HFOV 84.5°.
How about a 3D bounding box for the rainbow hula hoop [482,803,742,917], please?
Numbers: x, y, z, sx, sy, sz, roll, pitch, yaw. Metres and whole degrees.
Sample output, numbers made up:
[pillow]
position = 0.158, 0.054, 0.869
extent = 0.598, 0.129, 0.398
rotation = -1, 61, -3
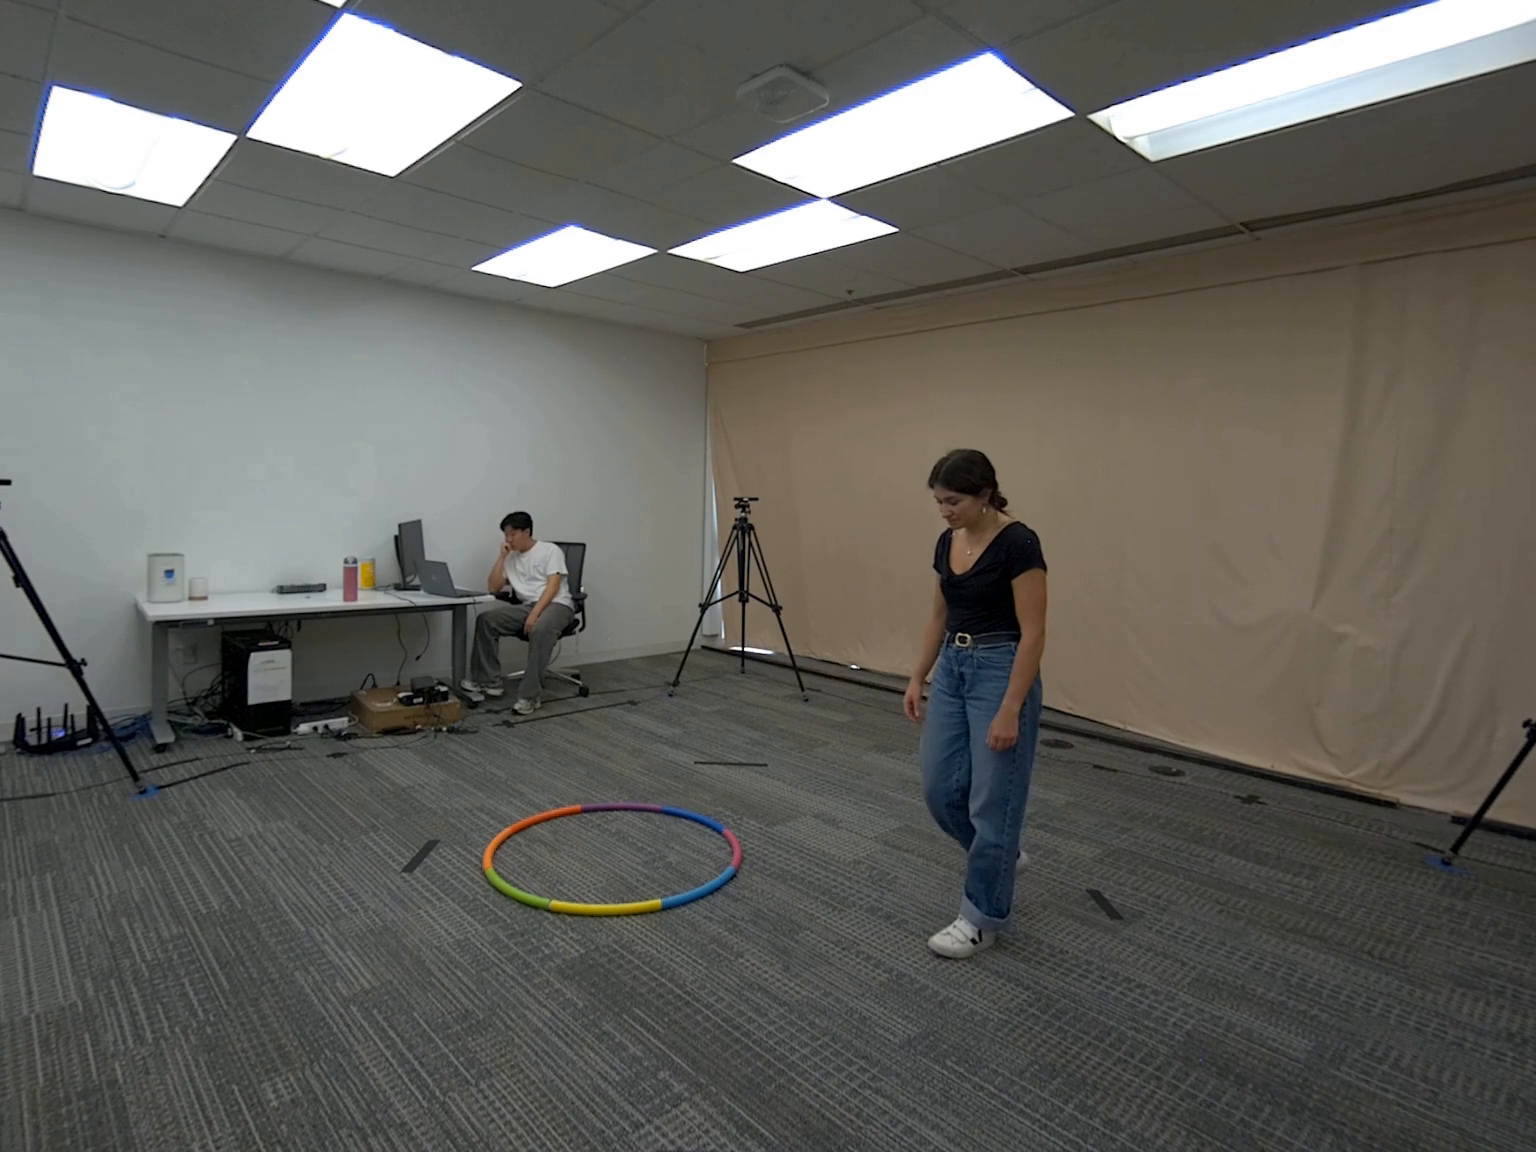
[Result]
[rainbow hula hoop]
position = -0.598, 1.056, 3.262
extent = 0.978, 0.035, 0.982
rotation = 2, 5, -1
